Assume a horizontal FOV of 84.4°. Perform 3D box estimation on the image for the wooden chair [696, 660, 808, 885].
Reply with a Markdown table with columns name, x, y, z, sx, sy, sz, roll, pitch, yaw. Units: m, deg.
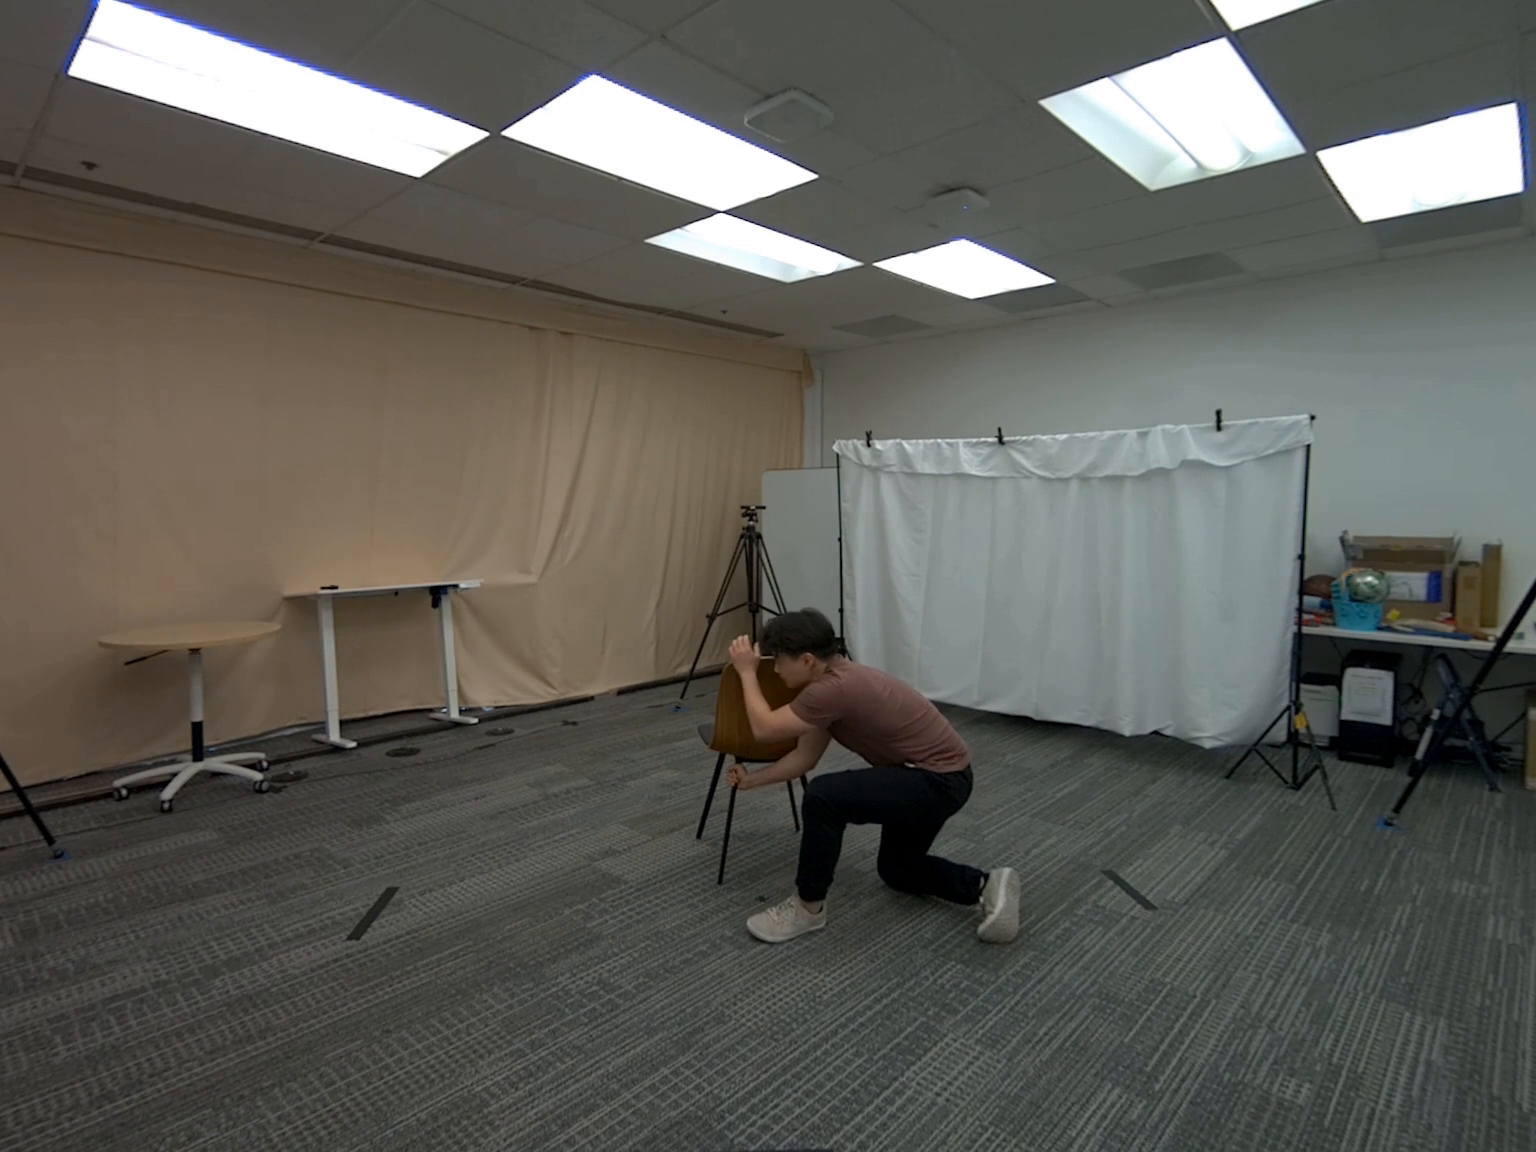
| name | x | y | z | sx | sy | sz | roll | pitch | yaw |
| --- | --- | --- | --- | --- | --- | --- | --- | --- | --- |
| wooden chair | -0.036 | 0.688 | 3.338 | 0.472 | 0.873 | 0.532 | -2 | 7 | -13 |
